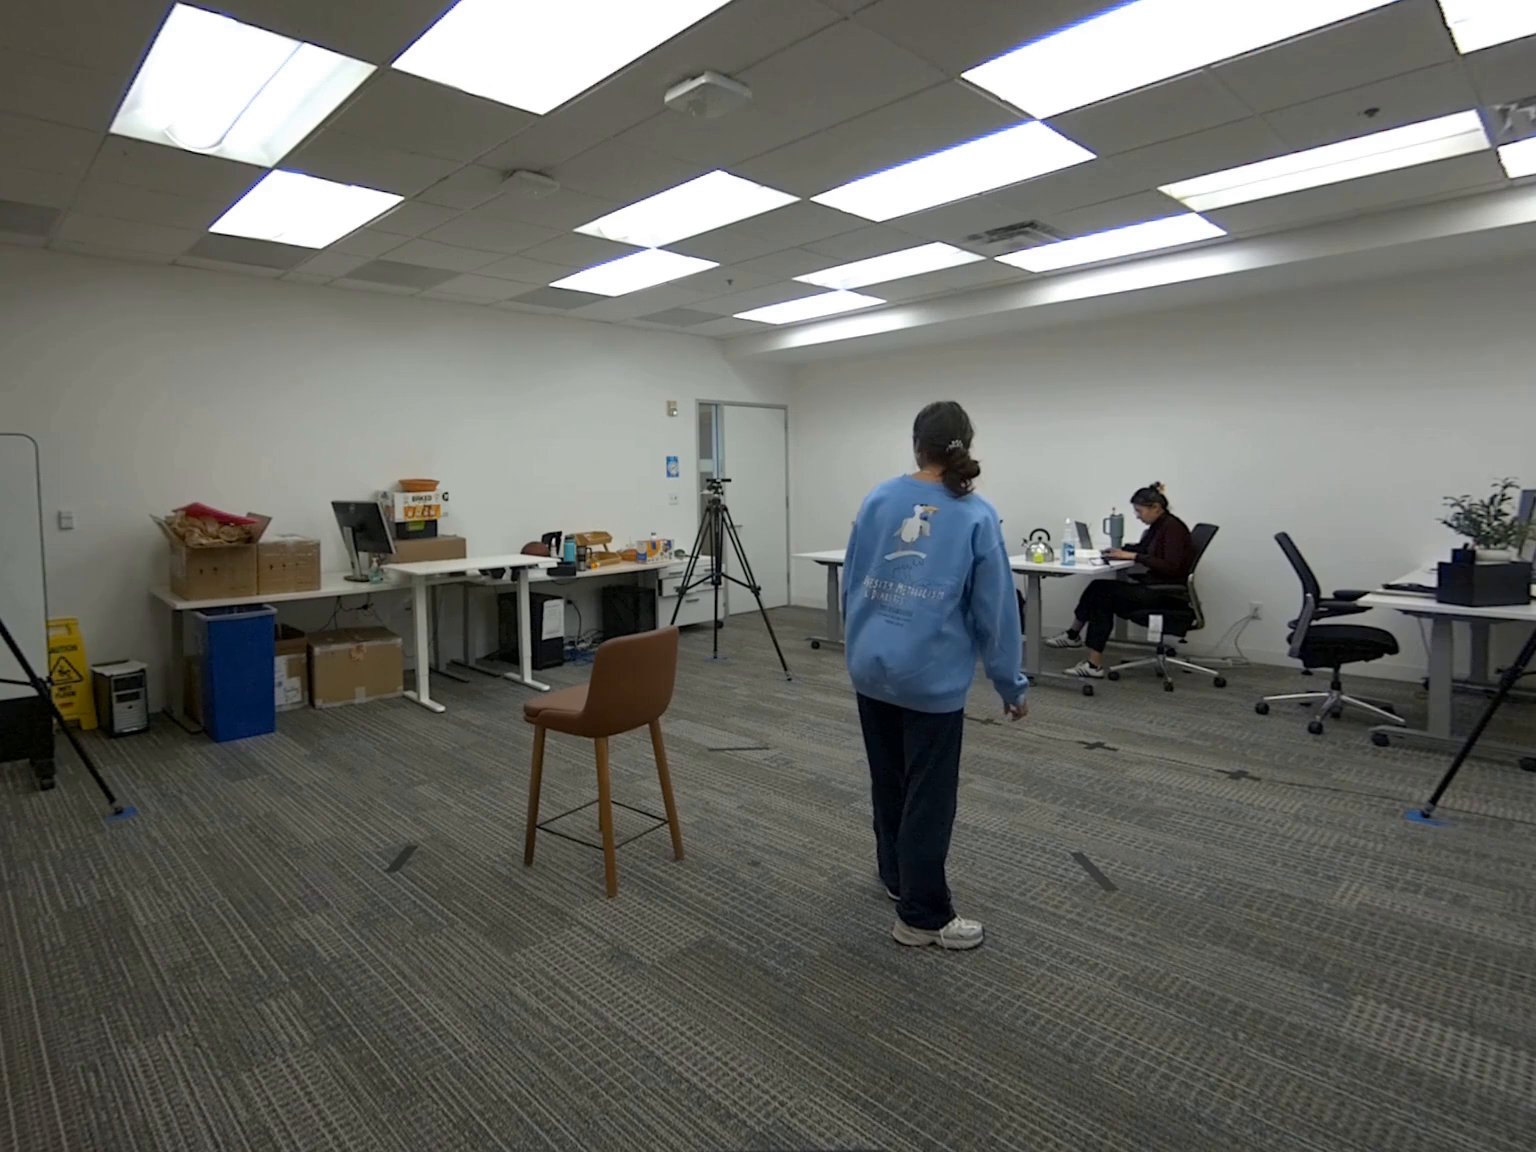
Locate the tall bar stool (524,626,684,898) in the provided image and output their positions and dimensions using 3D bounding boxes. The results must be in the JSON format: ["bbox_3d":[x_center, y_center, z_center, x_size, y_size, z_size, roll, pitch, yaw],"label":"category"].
[{"bbox_3d":[-0.594,0.614,3.118,0.482,0.886,0.445,5,6,37],"label":"tall bar stool"}]
